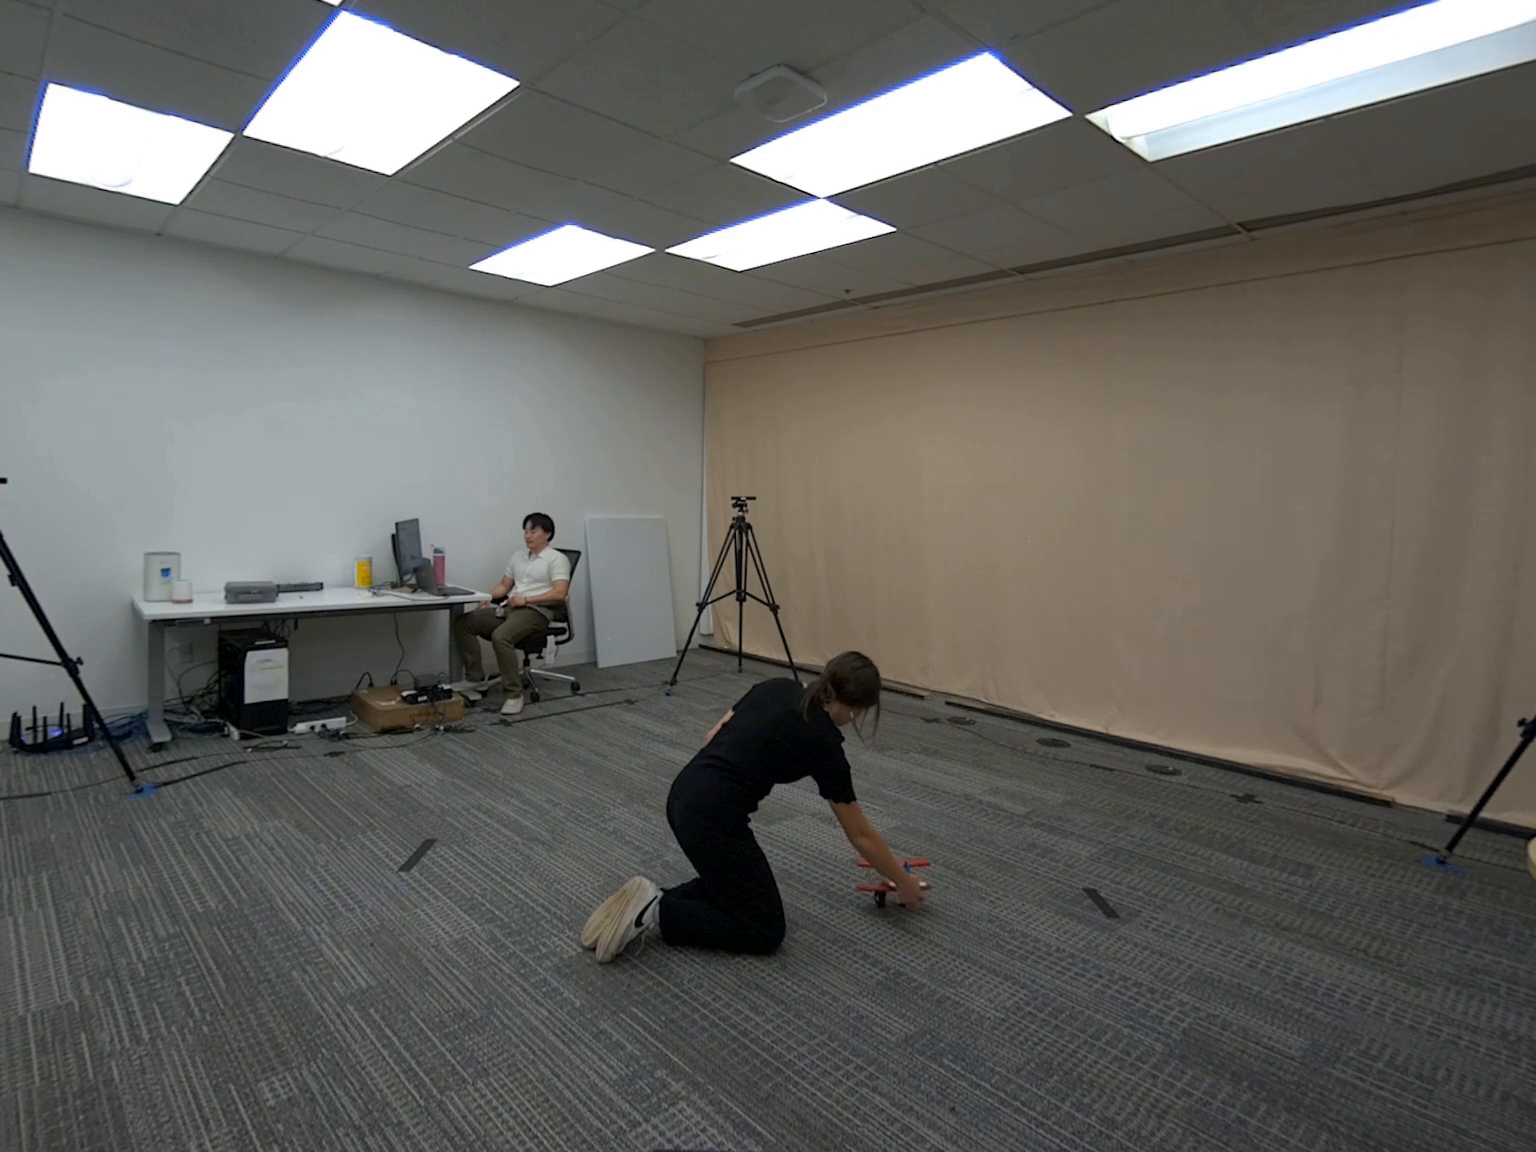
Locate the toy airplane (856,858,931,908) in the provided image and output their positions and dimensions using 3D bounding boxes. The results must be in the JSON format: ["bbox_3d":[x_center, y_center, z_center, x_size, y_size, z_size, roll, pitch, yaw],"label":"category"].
[{"bbox_3d":[0.452,1.036,2.852,0.245,0.159,0.261,15,-30,-32],"label":"toy airplane"}]
